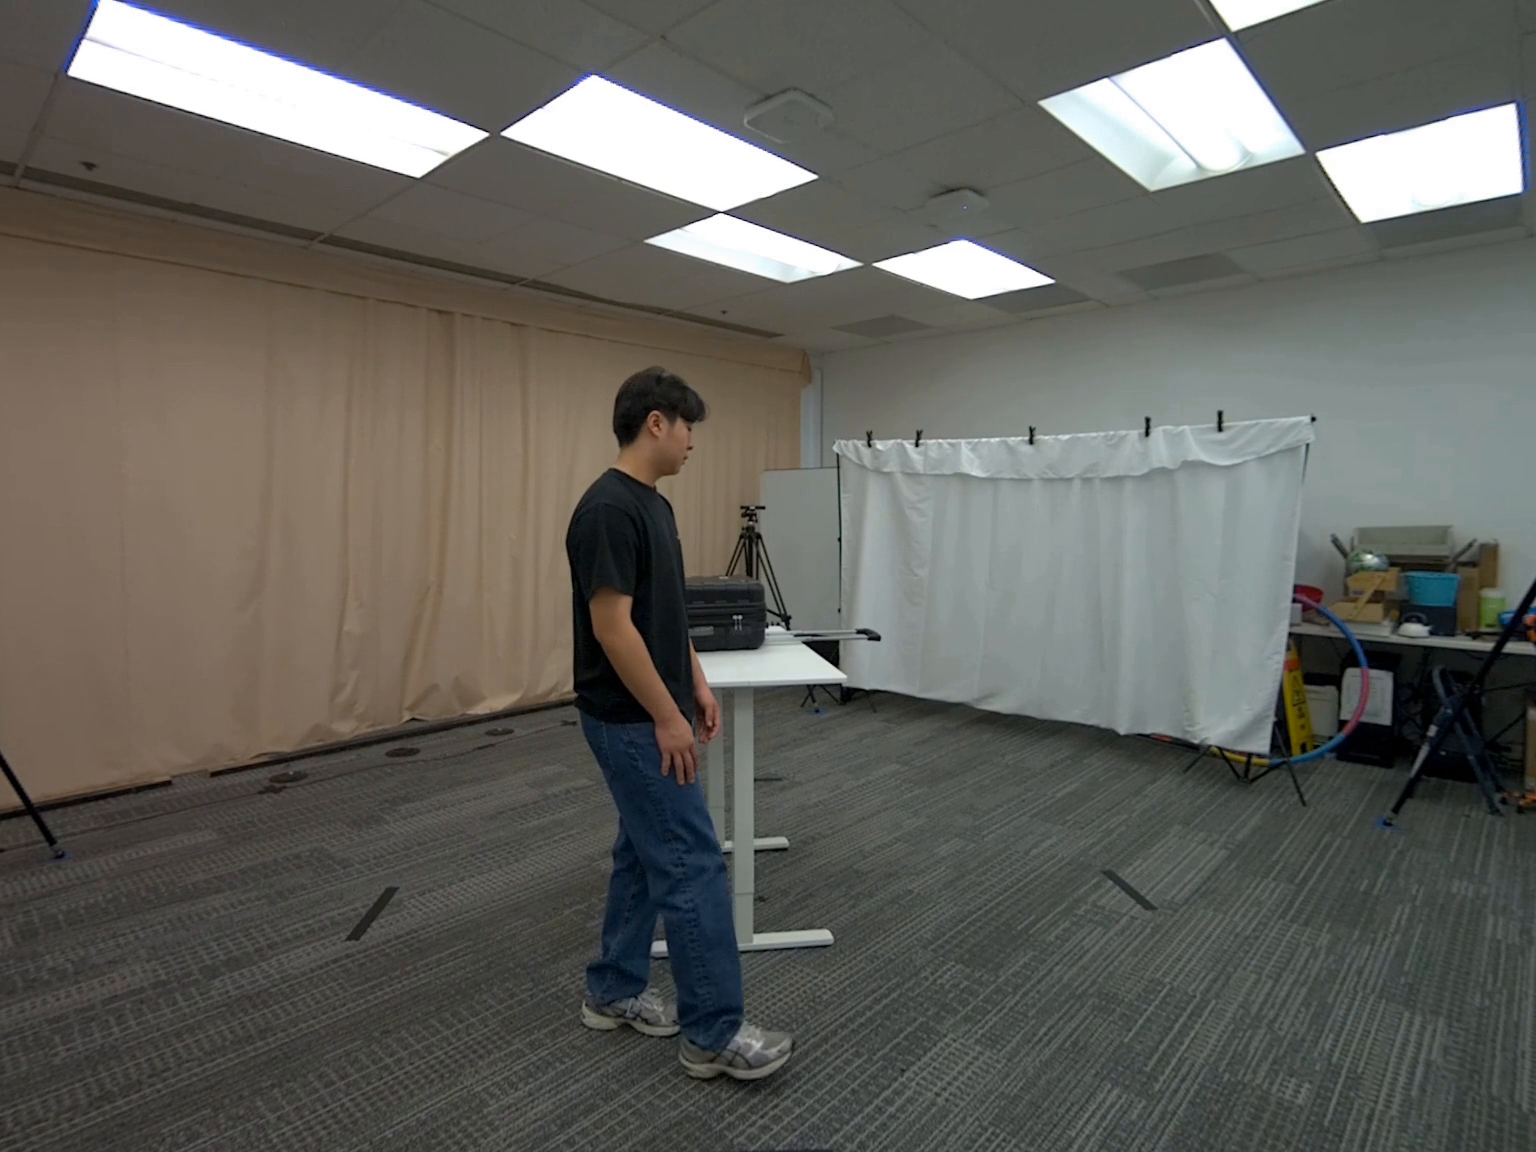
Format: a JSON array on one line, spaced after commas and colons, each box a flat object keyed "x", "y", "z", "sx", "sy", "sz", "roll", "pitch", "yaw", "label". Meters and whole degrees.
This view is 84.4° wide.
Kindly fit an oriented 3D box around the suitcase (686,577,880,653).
[{"x": -0.084, "y": 0.128, "z": 3.109, "sx": 0.969, "sy": 0.256, "sz": 0.389, "roll": -4, "pitch": 4, "yaw": -10, "label": "suitcase"}]
